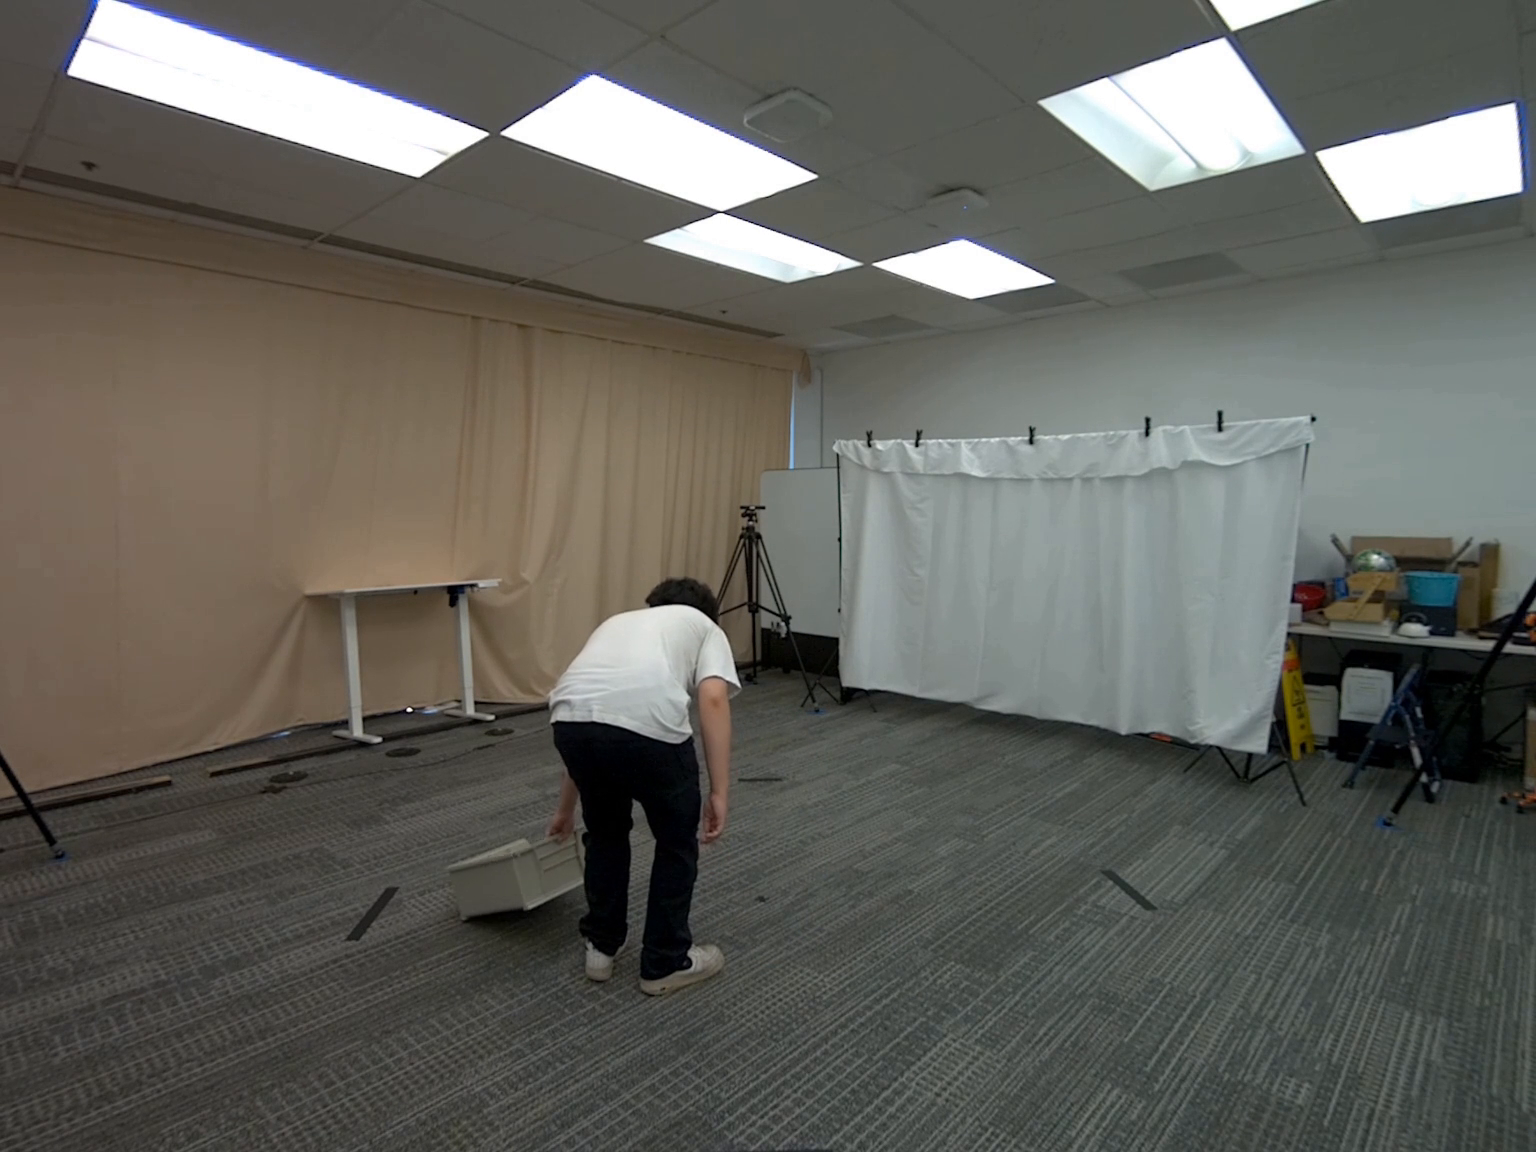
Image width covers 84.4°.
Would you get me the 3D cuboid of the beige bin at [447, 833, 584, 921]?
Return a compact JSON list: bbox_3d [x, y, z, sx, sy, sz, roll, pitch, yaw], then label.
[{"bbox_3d":[-0.810,1.000,2.862,0.431,0.190,0.366,-24,-10,37],"label":"beige bin"}]
